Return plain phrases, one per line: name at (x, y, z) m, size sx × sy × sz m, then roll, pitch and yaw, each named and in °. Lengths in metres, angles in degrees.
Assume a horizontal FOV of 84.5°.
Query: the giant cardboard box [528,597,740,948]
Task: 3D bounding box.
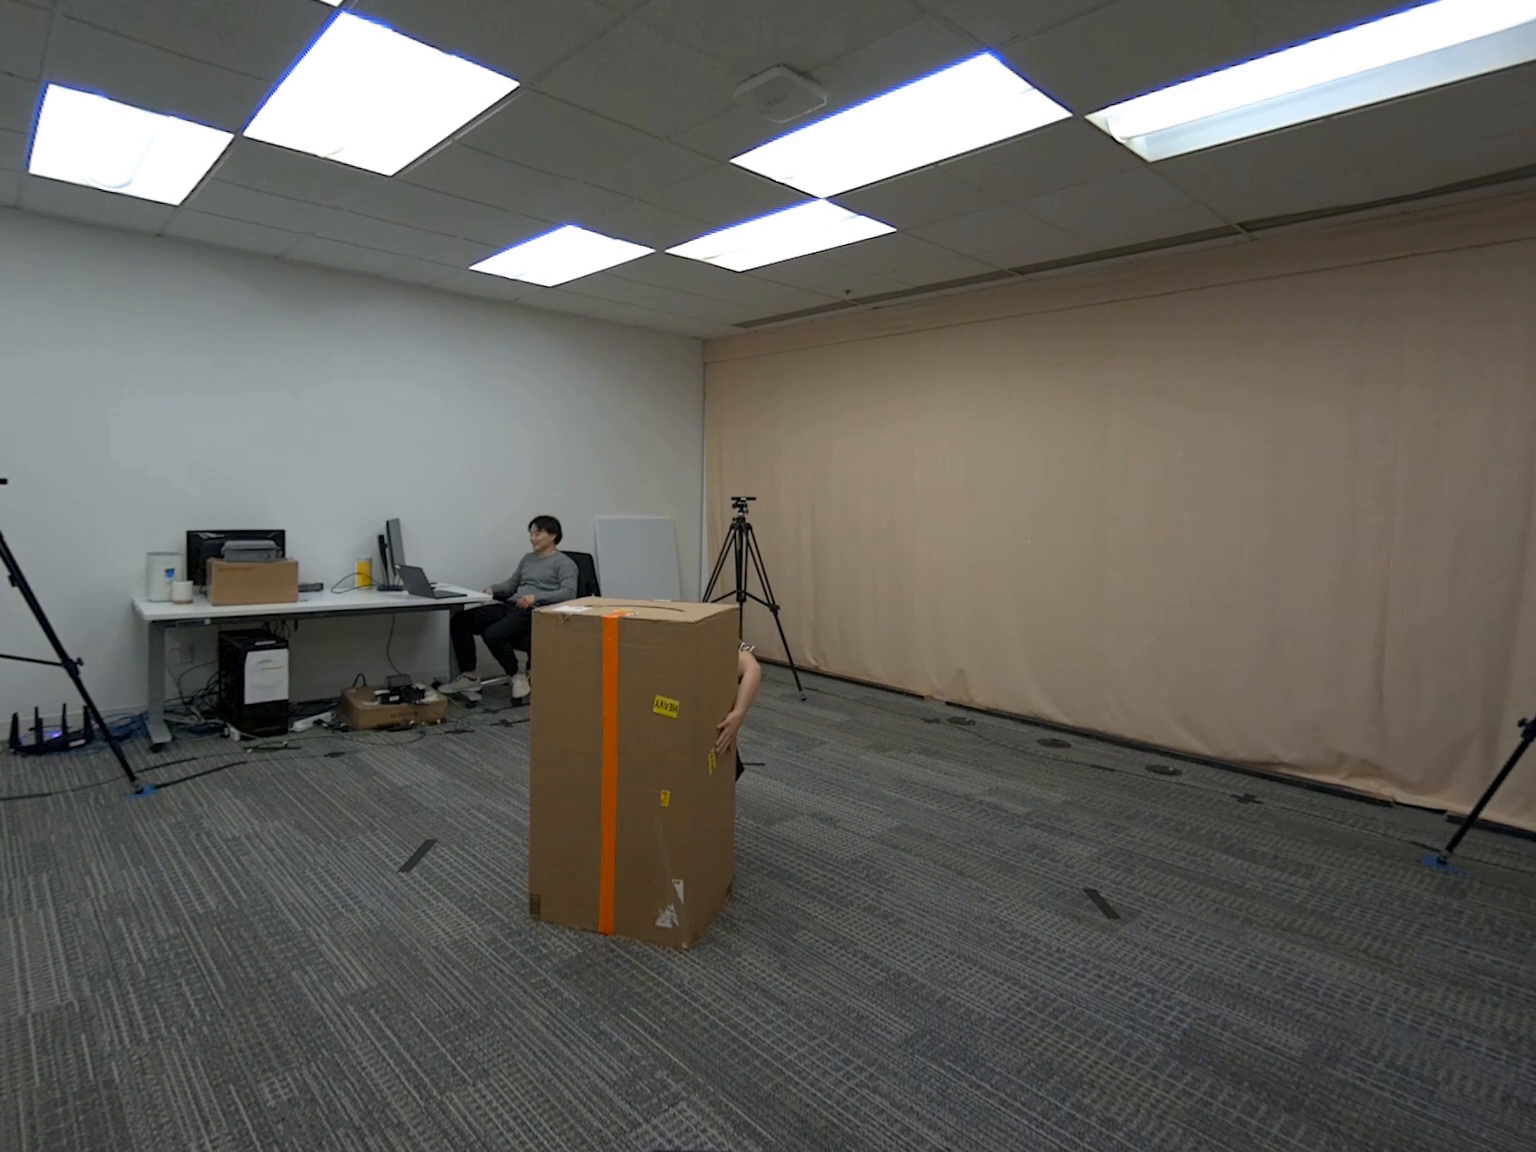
giant cardboard box at (-0.449, 0.612, 2.837) m, size 0.586 × 1.023 × 0.421 m, roll 3°, pitch 3°, yaw 18°
